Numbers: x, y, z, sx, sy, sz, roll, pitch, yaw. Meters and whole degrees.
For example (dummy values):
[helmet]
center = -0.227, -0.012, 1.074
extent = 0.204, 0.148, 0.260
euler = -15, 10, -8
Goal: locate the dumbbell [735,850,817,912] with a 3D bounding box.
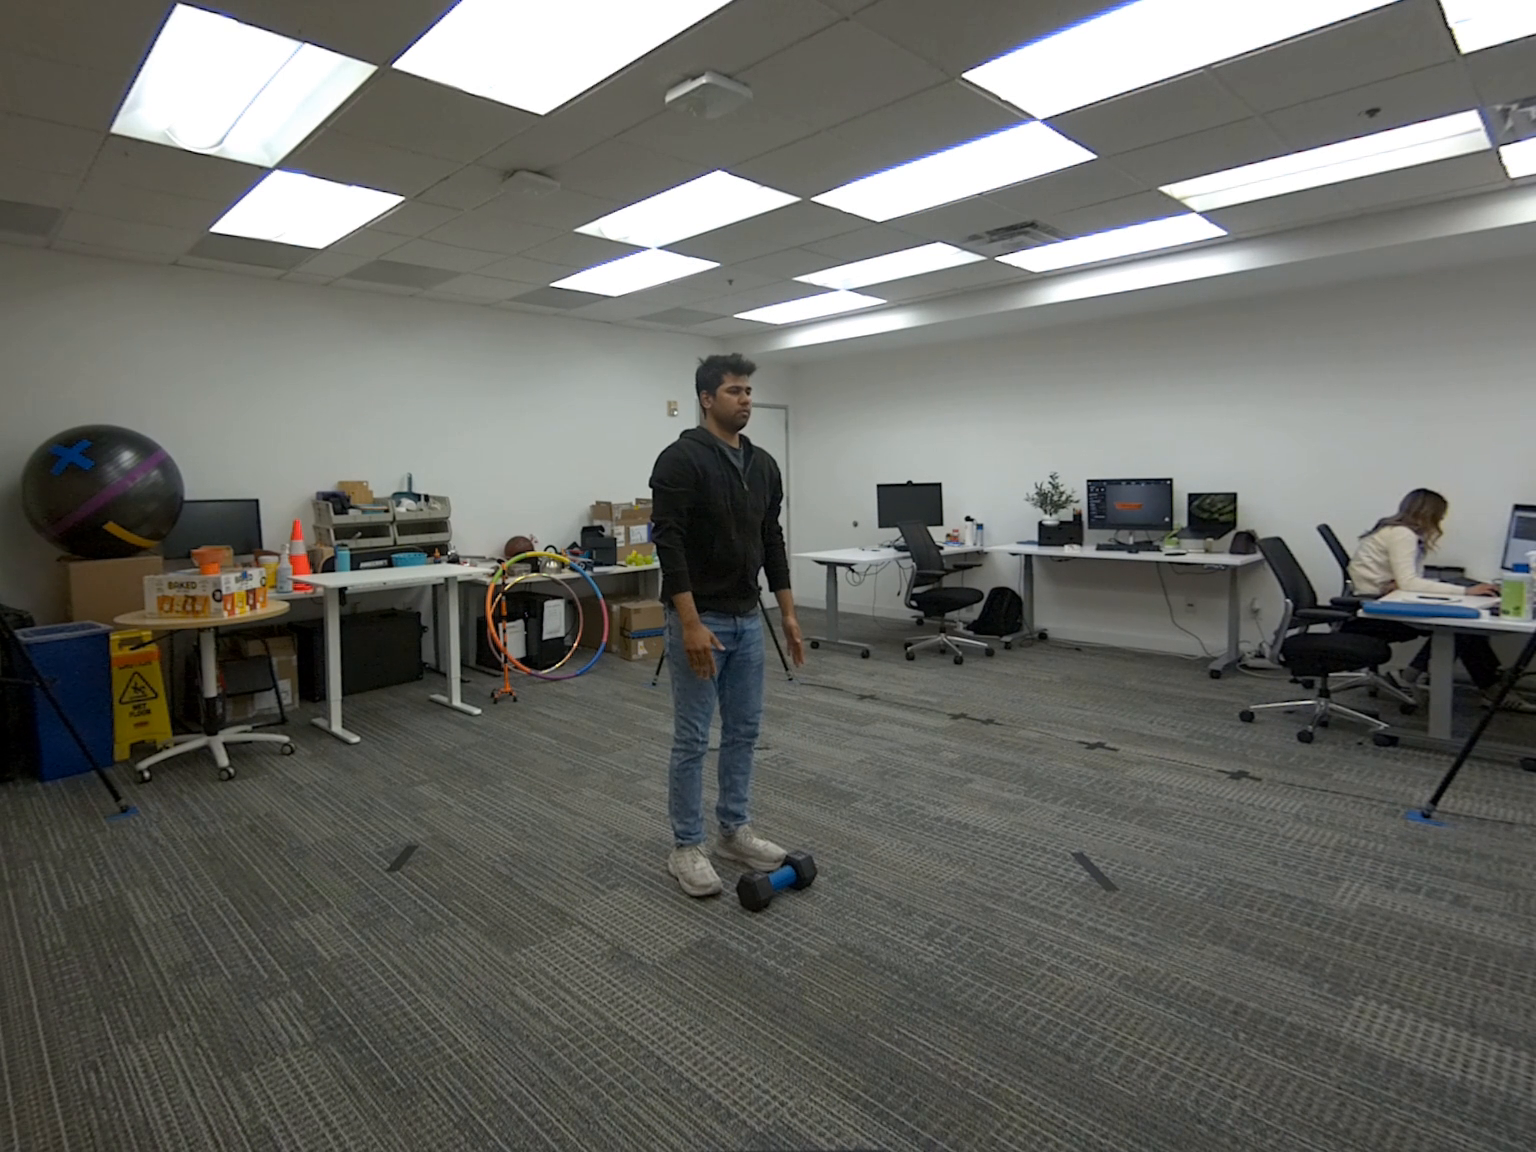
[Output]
[dumbbell]
center = 0.037, 1.017, 2.860
extent = 0.286, 0.108, 0.127
euler = -6, 7, -44
